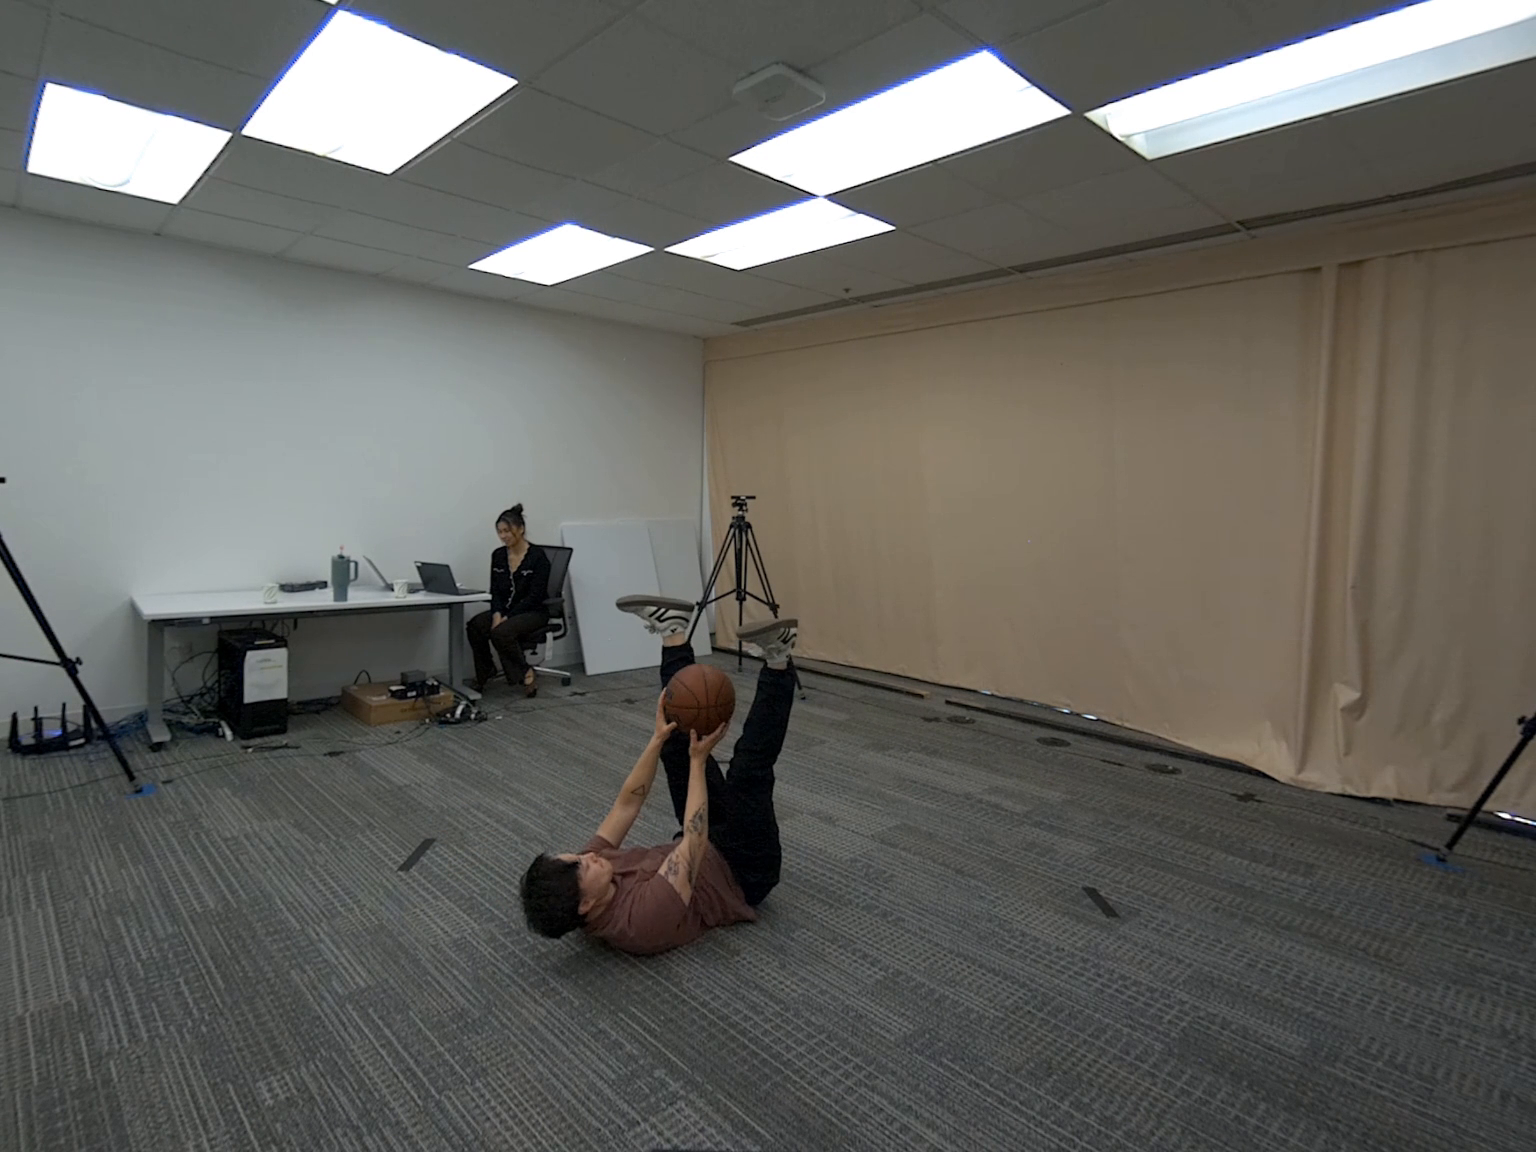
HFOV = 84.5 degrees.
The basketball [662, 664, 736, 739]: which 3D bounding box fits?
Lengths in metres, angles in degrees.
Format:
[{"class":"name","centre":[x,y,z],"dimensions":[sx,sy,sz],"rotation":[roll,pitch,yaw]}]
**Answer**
[{"class":"basketball","centre":[-0.233,0.411,2.780],"dimensions":[0.236,0.235,0.237],"rotation":[2,4,-2]}]
